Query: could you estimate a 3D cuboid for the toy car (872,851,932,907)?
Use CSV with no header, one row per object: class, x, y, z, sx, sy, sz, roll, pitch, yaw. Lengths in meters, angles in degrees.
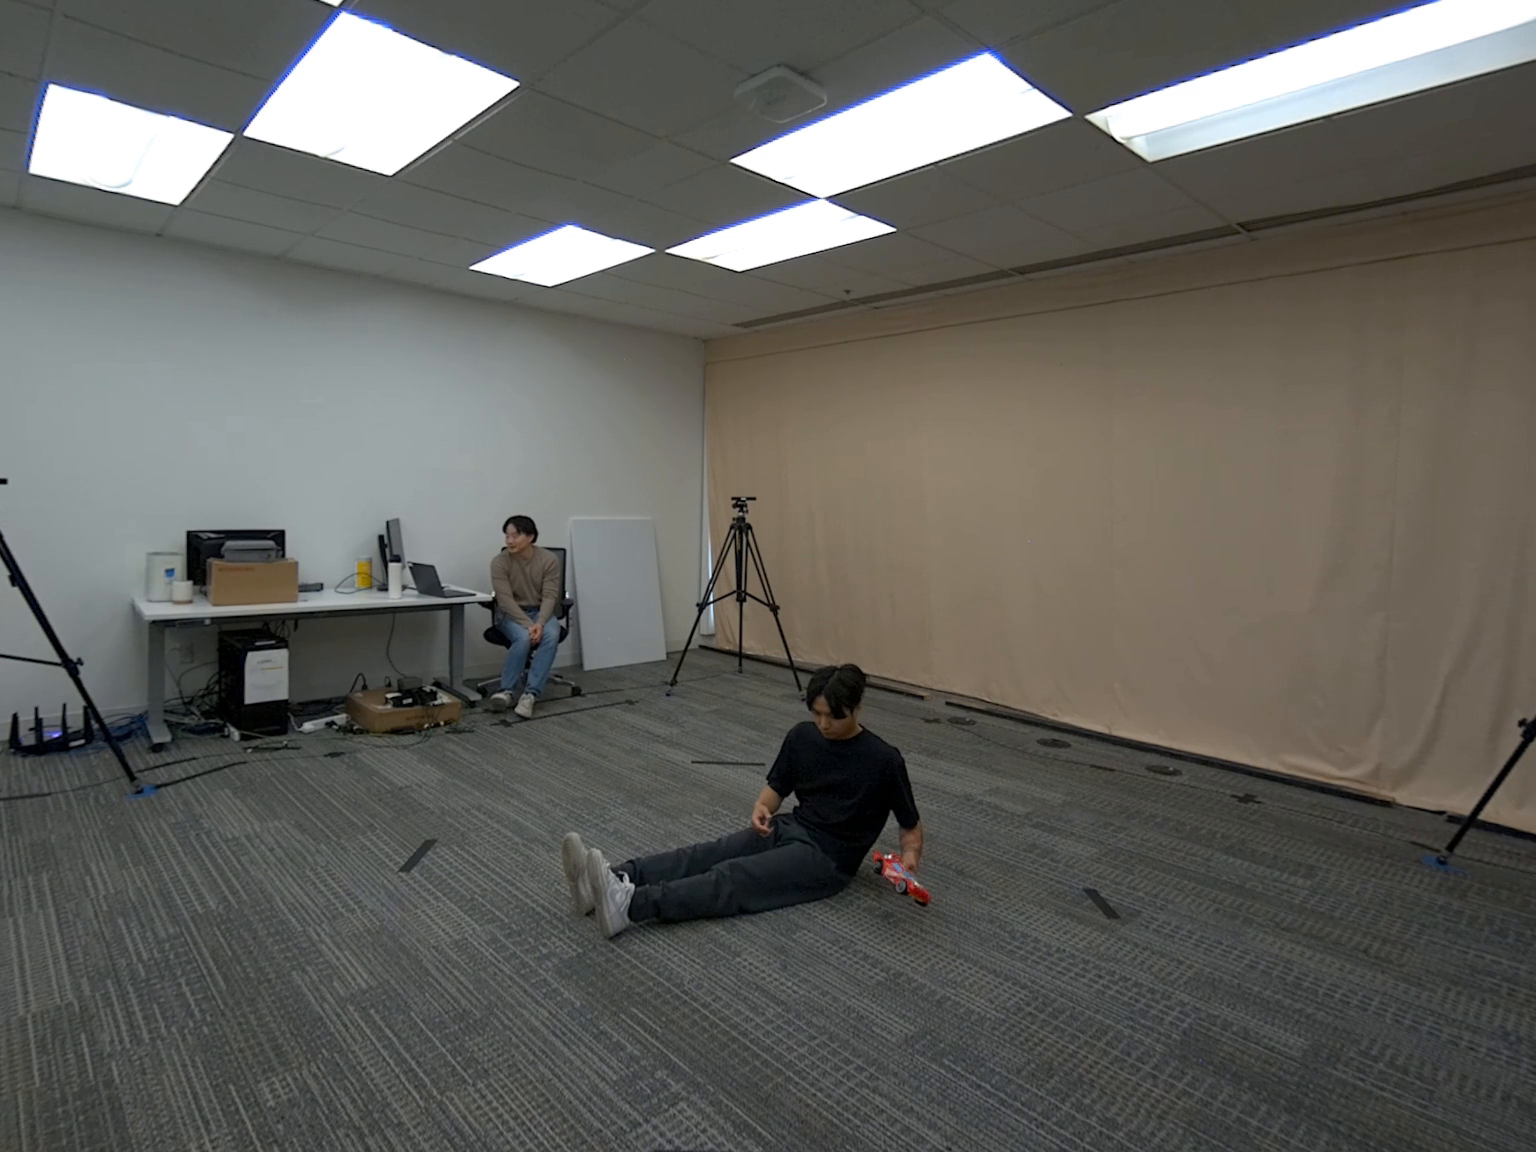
toy car,0.413,0.986,2.755,0.127,0.083,0.260,37,3,-22
